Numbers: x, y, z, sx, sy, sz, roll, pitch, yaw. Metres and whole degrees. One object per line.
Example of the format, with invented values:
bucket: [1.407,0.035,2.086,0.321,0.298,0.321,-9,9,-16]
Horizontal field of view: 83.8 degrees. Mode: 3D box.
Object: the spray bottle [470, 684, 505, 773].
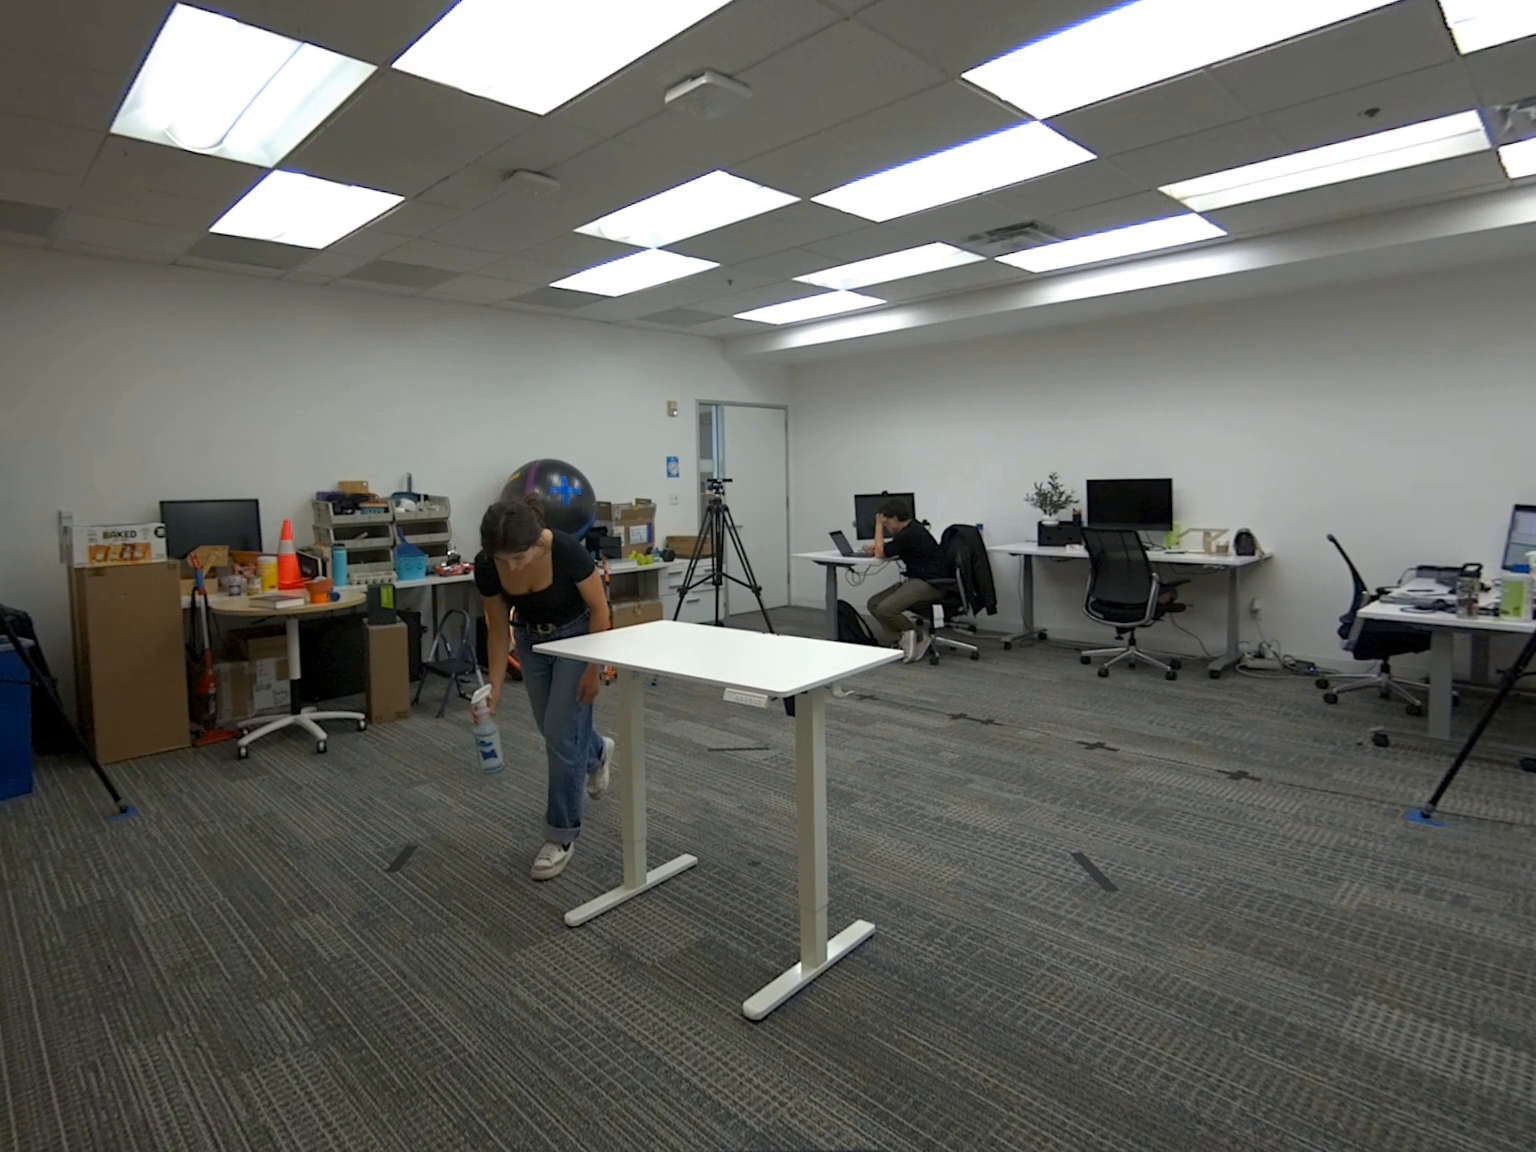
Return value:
spray bottle: [-0.959,0.531,2.908,0.088,0.293,0.090,-15,18,-39]
